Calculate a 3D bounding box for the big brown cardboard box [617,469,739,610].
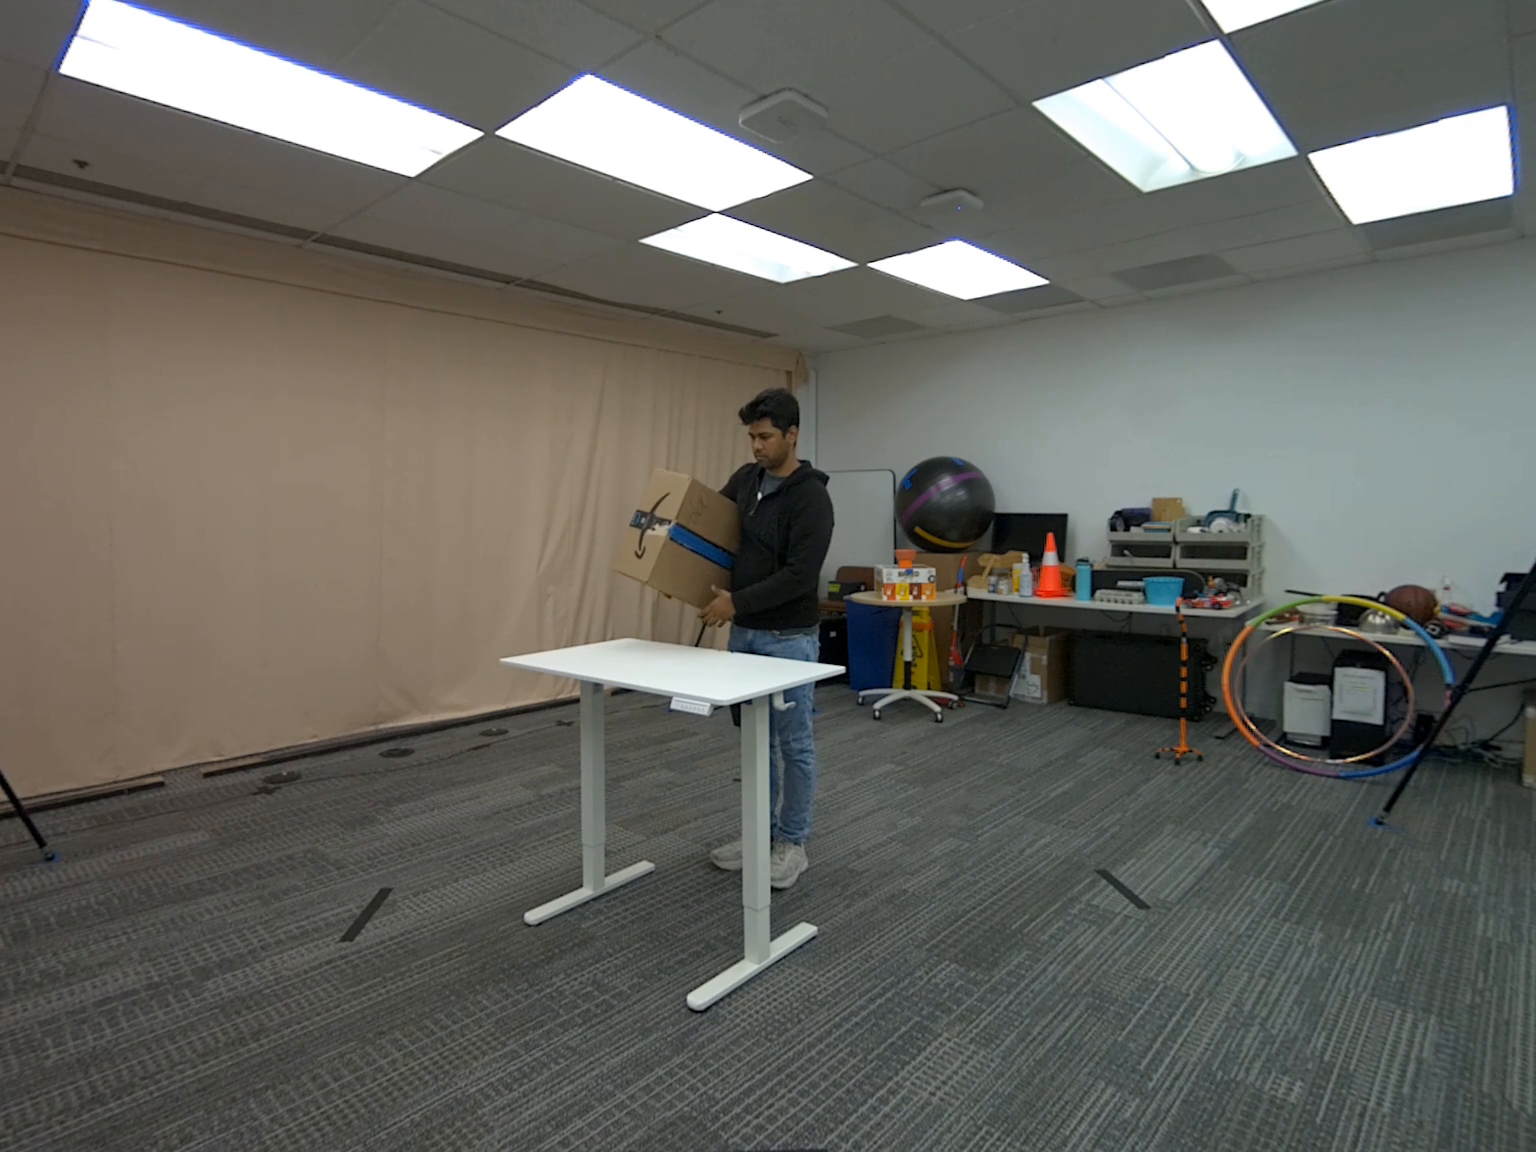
[{"bbox_3d":[-0.262,-0.094,3.279,0.242,0.418,0.567,16,-8,42],"label":"big brown cardboard box"}]
